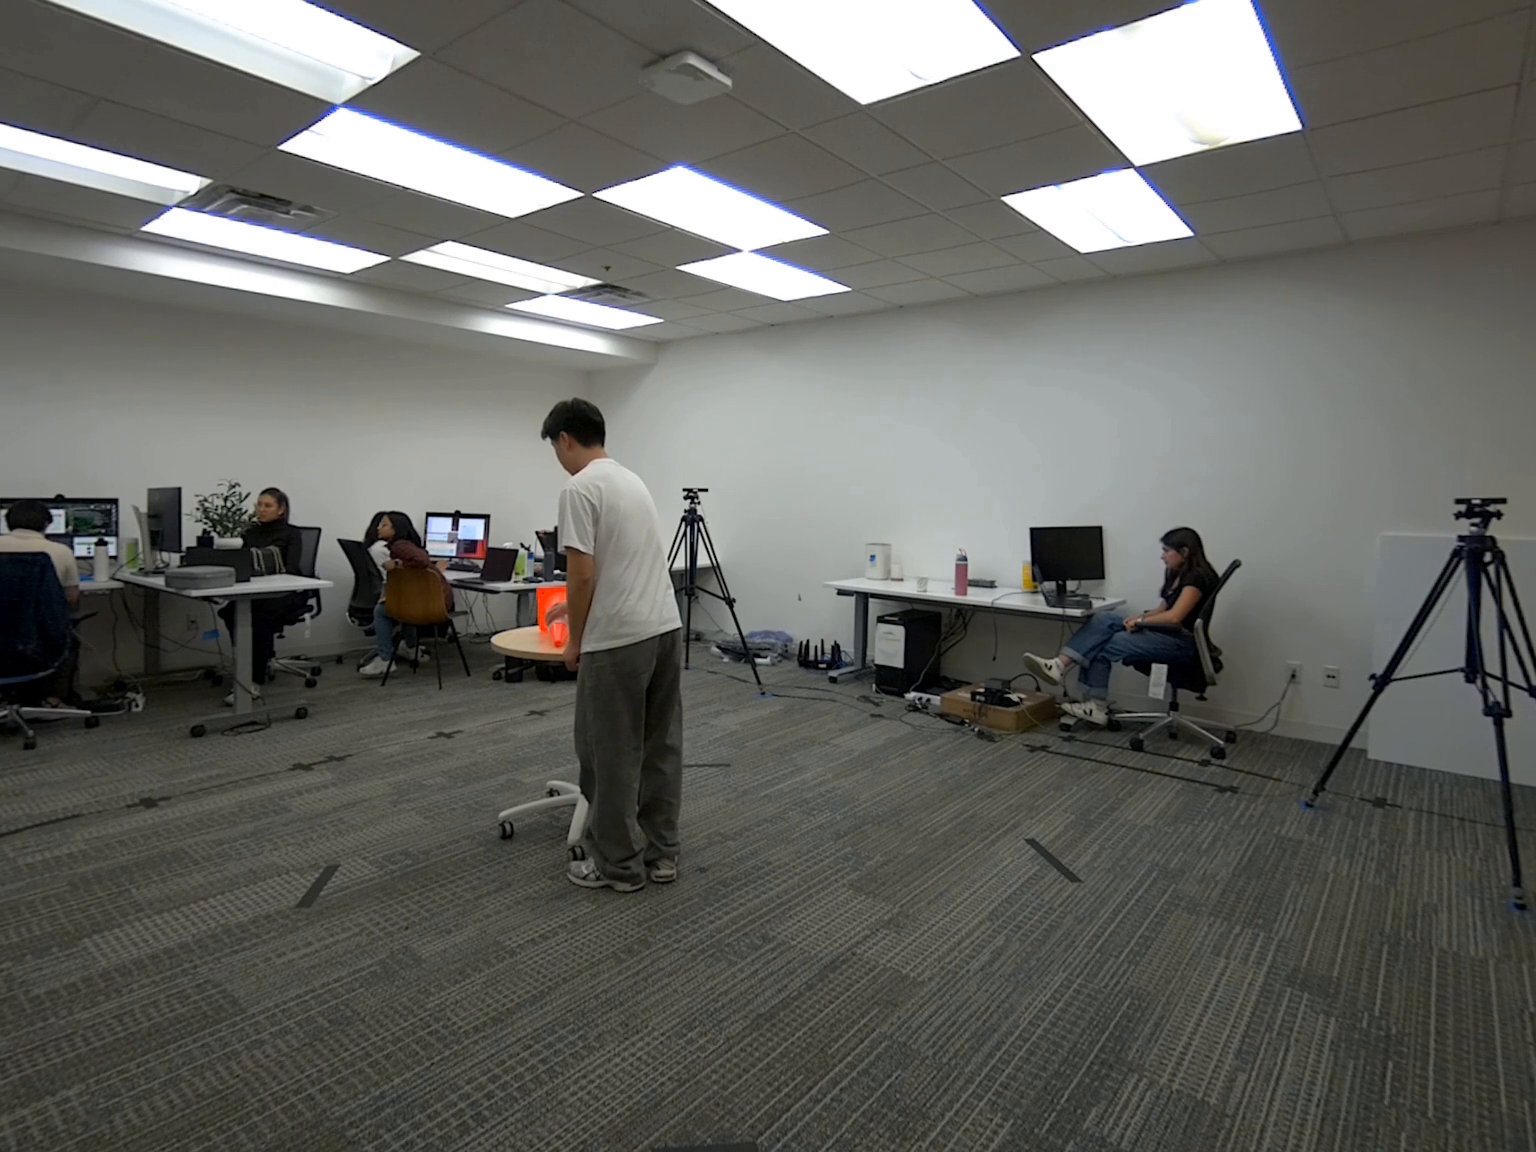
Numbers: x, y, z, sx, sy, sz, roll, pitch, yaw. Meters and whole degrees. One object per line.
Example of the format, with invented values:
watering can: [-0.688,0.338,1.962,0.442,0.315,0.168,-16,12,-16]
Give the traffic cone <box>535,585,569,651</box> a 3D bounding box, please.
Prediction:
traffic cone: [-0.831,0.189,3.384,0.202,0.201,0.393,-5,18,-8]
